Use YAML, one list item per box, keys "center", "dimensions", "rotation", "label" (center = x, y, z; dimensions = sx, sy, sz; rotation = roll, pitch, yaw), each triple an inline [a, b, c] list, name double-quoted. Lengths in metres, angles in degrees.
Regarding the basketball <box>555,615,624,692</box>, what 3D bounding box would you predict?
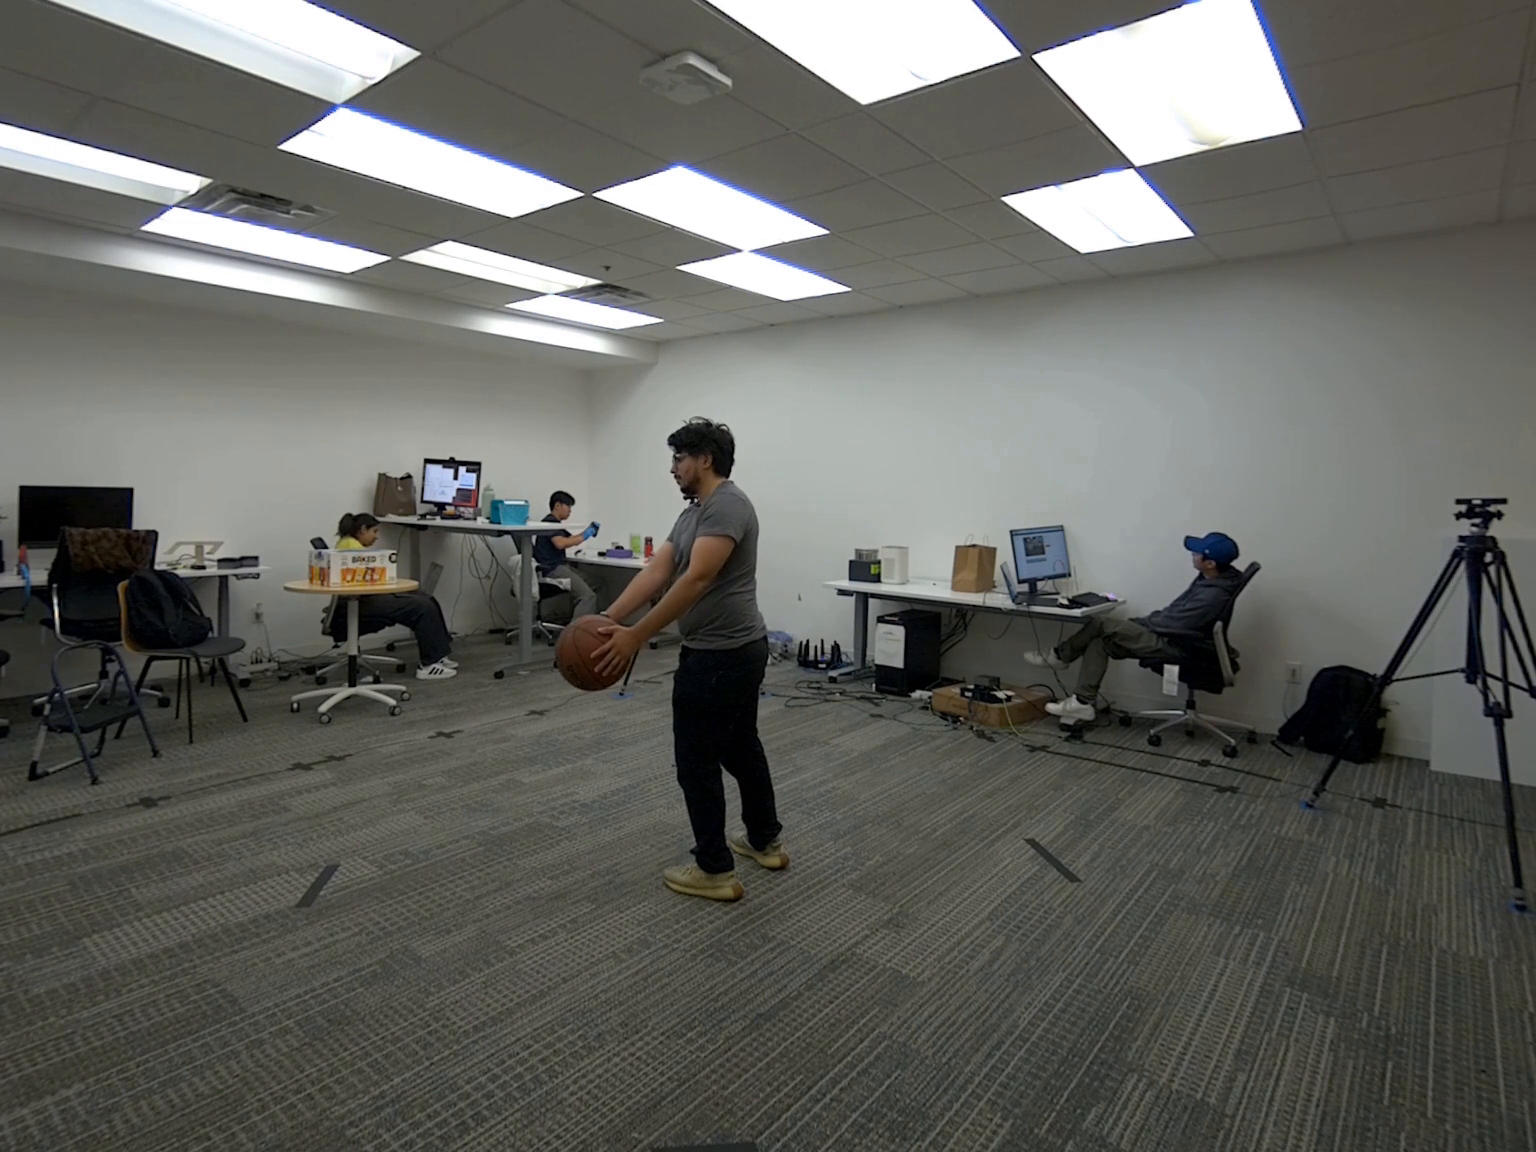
- center: [-0.564, 0.243, 2.690]
  dimensions: [0.235, 0.235, 0.237]
  rotation: [1, 4, -2]
  label: "basketball"
